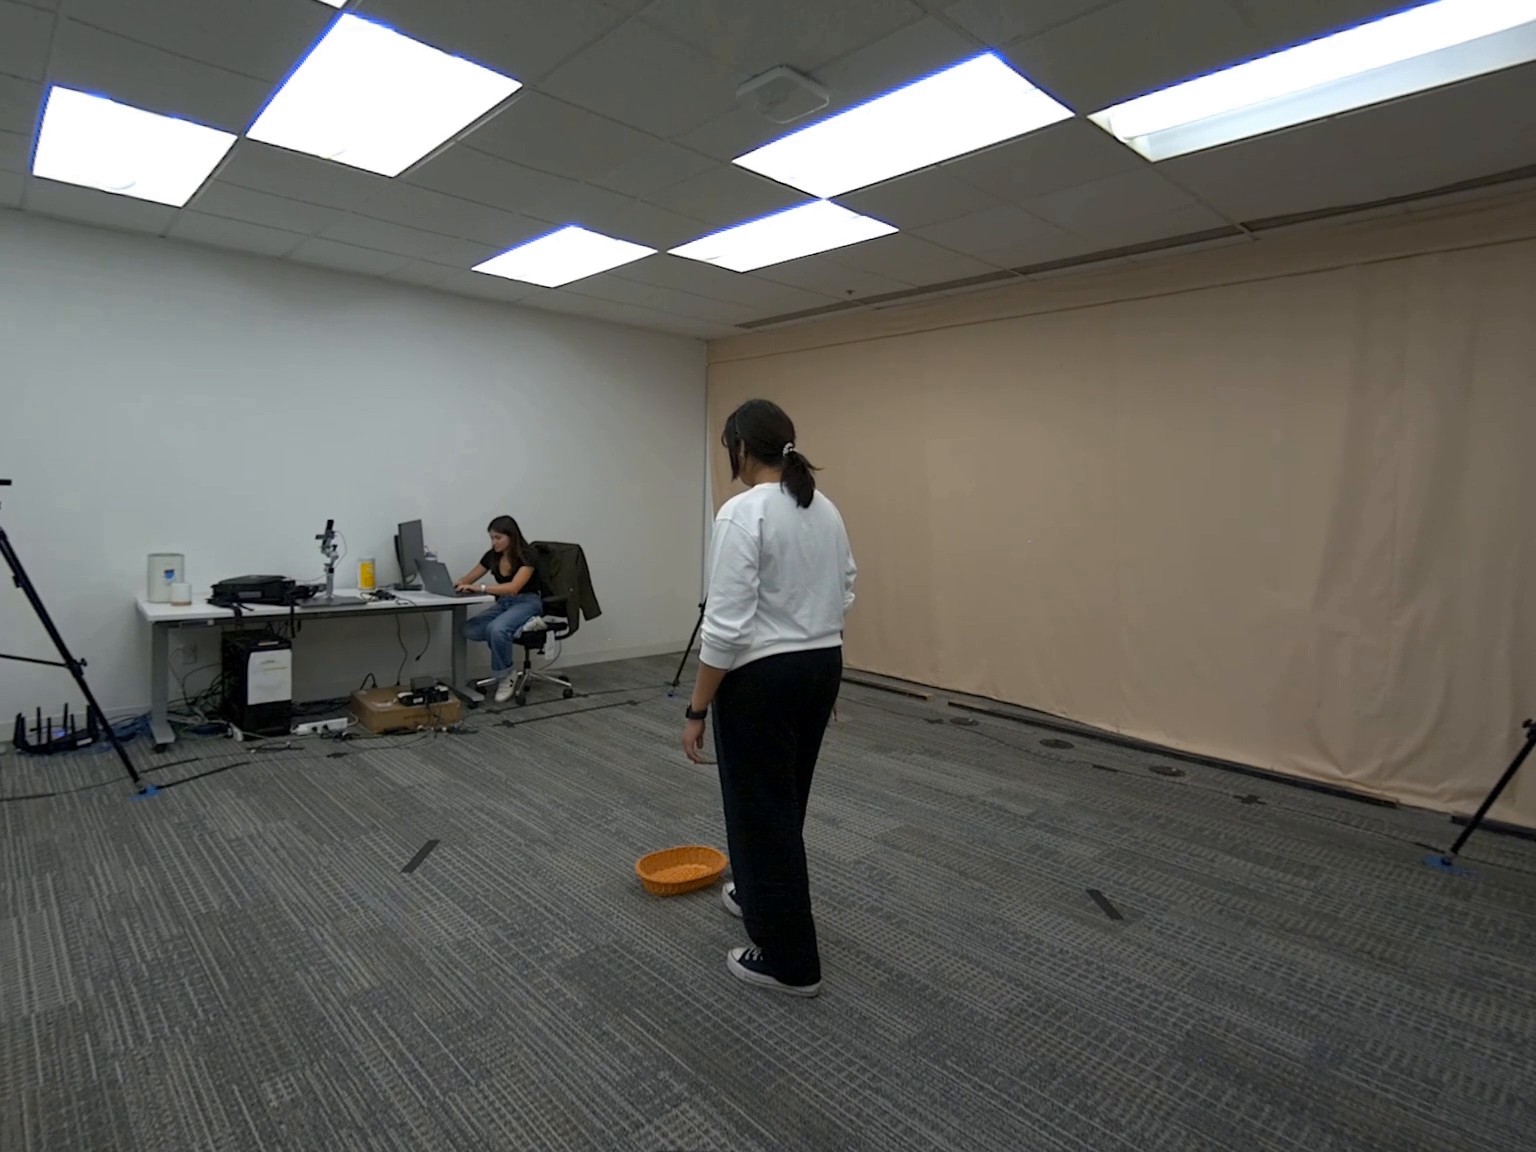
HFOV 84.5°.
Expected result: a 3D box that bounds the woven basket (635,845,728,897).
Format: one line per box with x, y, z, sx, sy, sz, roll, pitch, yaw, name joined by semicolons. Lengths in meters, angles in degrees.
-0.317;1.069;3.047;0.343;0.073;0.258;-2;7;-32;woven basket
